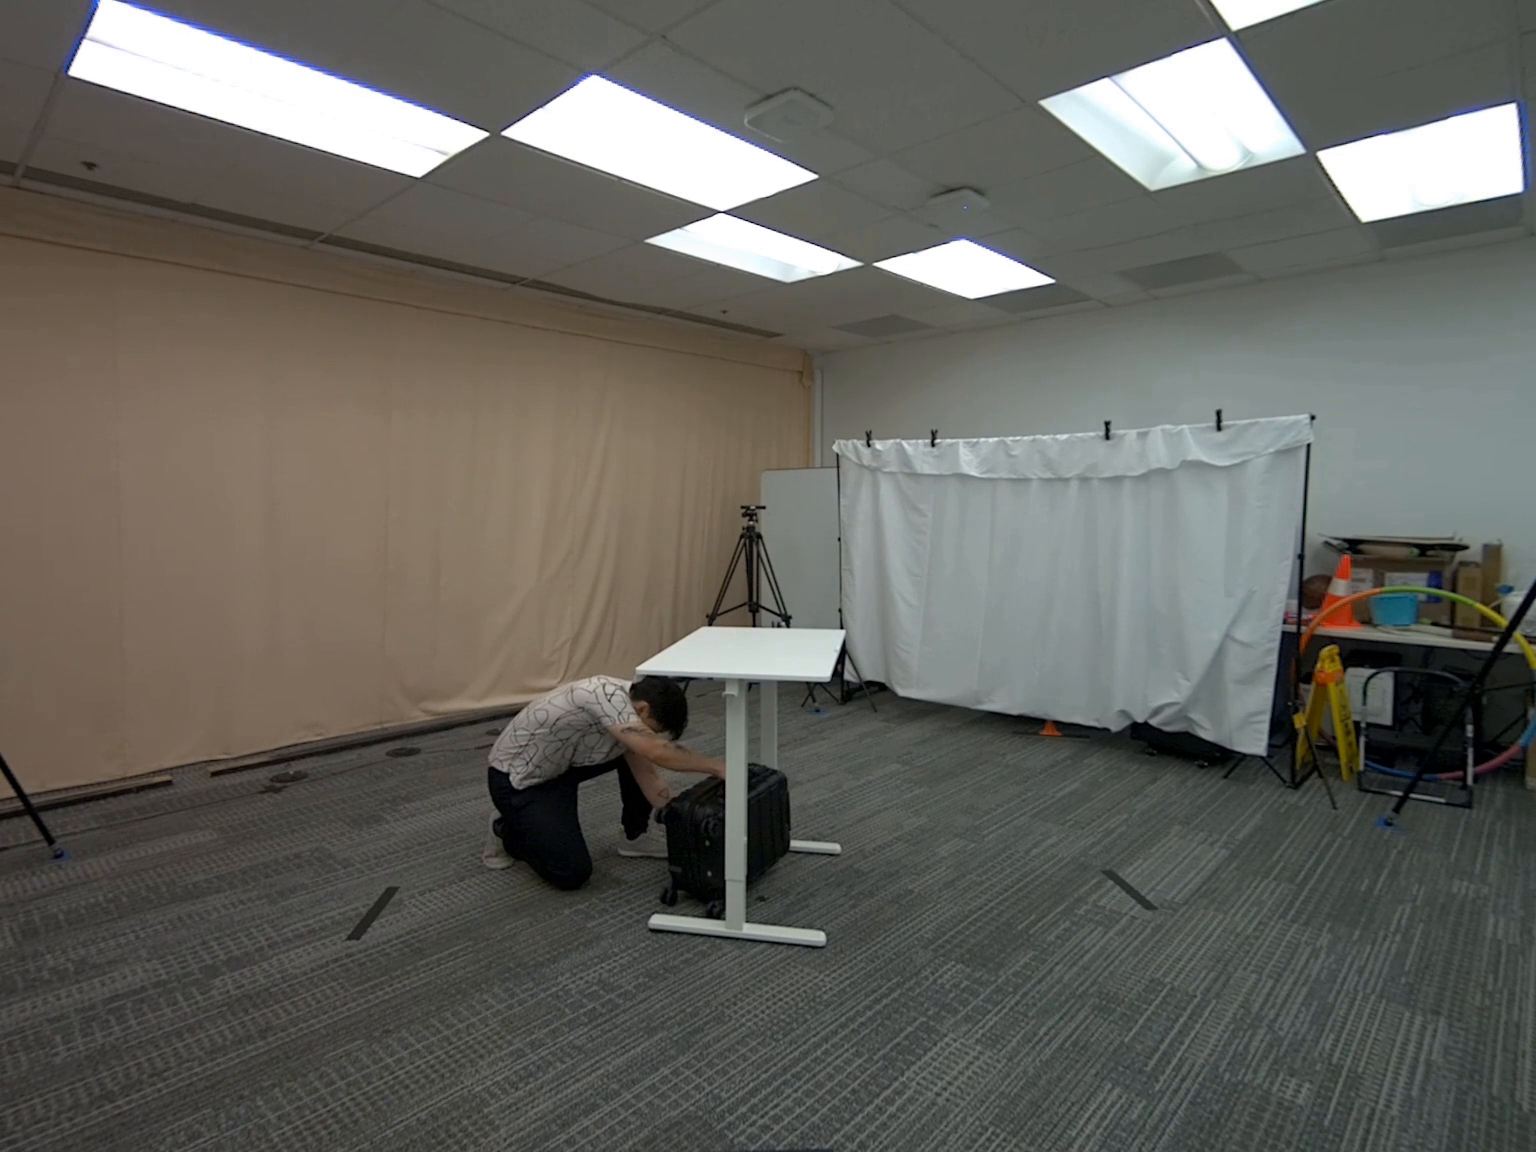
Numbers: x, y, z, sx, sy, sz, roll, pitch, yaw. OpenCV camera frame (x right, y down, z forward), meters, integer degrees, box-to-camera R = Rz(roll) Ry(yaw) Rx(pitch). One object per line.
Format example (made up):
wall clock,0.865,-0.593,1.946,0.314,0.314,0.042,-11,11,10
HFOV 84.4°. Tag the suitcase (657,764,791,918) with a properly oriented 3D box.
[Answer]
suitcase,-0.142,0.923,3.074,0.256,0.374,0.535,1,8,33
